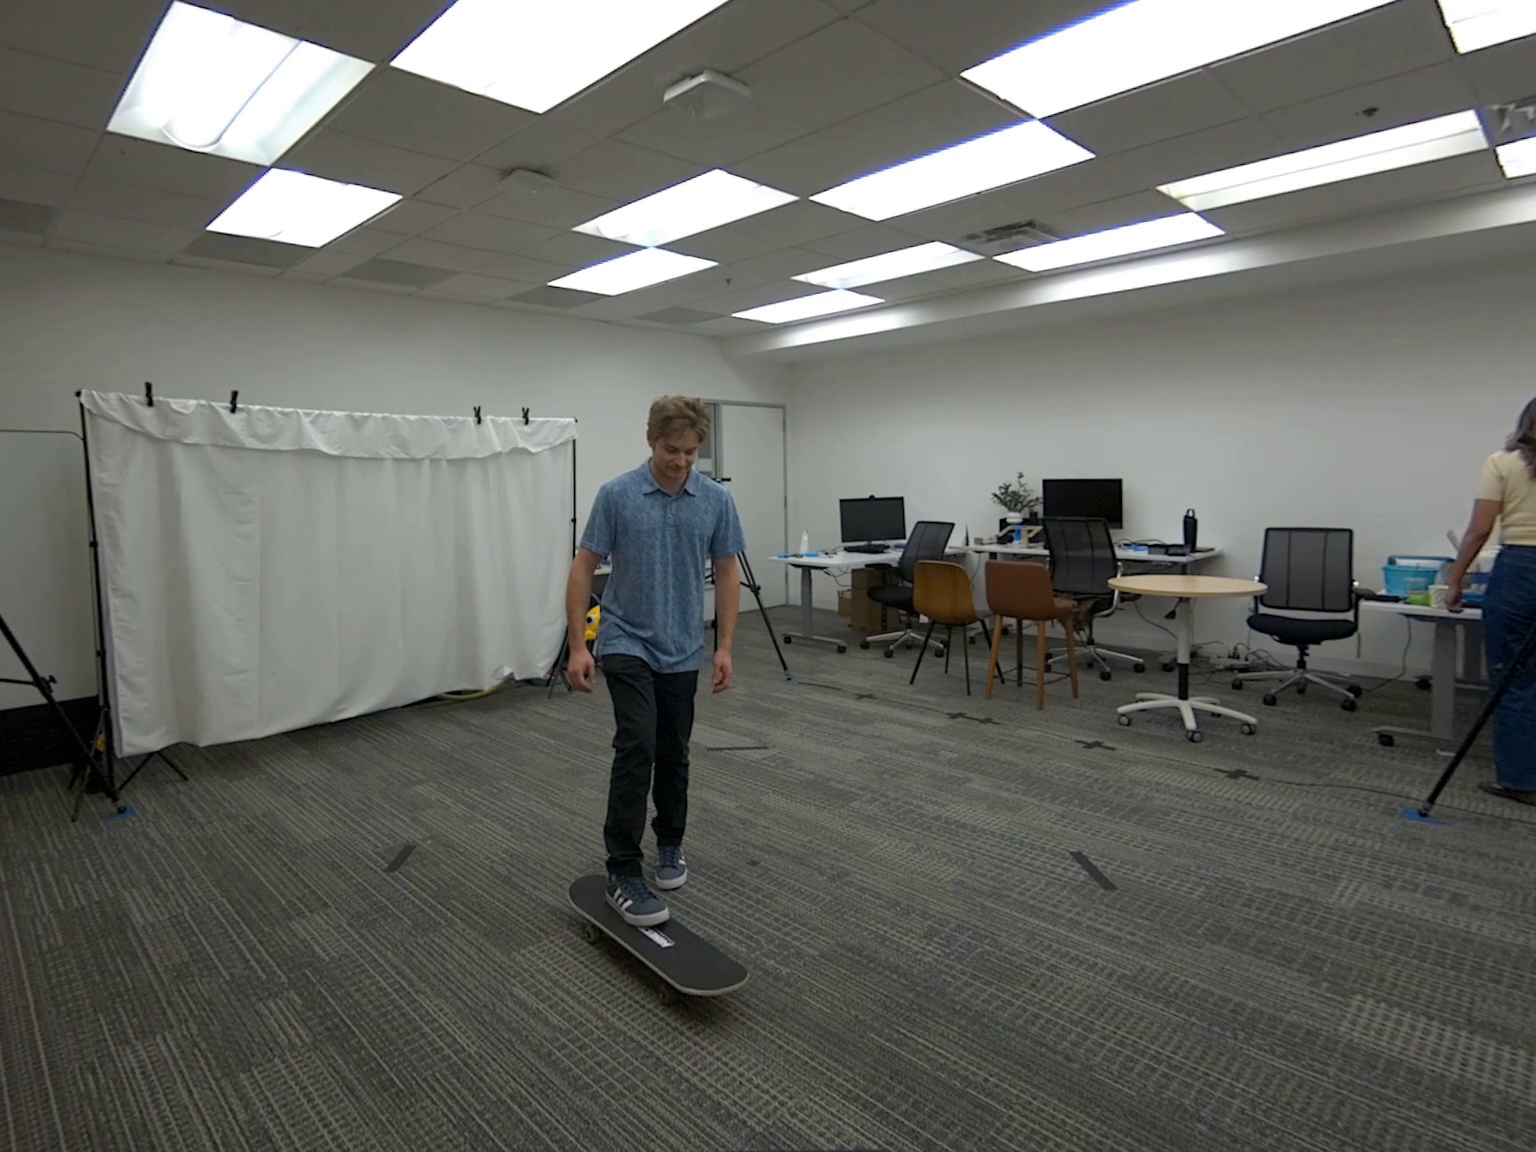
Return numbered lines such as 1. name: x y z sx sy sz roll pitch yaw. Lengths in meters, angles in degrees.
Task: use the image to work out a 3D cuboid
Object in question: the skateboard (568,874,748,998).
1. skateboard: -0.337 1.062 2.488 0.188 0.110 0.810 -5 8 -39
